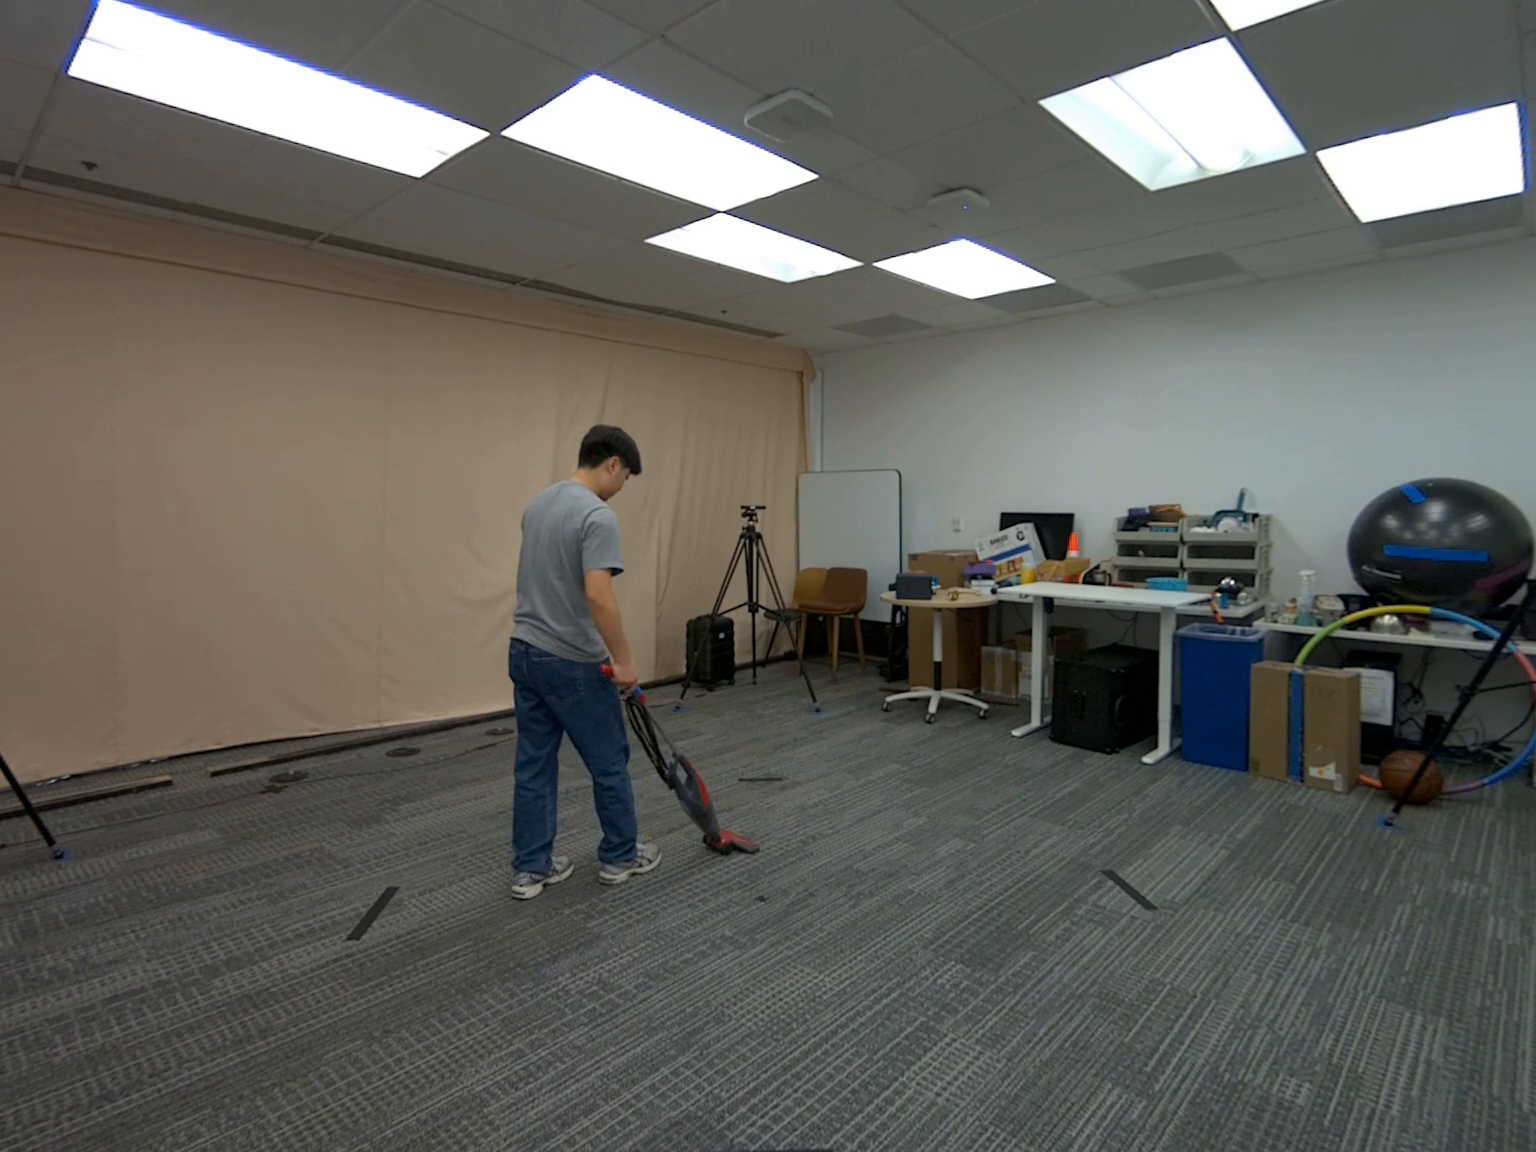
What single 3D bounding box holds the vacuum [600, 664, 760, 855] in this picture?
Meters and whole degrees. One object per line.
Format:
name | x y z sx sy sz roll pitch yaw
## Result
vacuum | -0.352 0.715 3.185 0.261 1.020 0.143 3 43 38
